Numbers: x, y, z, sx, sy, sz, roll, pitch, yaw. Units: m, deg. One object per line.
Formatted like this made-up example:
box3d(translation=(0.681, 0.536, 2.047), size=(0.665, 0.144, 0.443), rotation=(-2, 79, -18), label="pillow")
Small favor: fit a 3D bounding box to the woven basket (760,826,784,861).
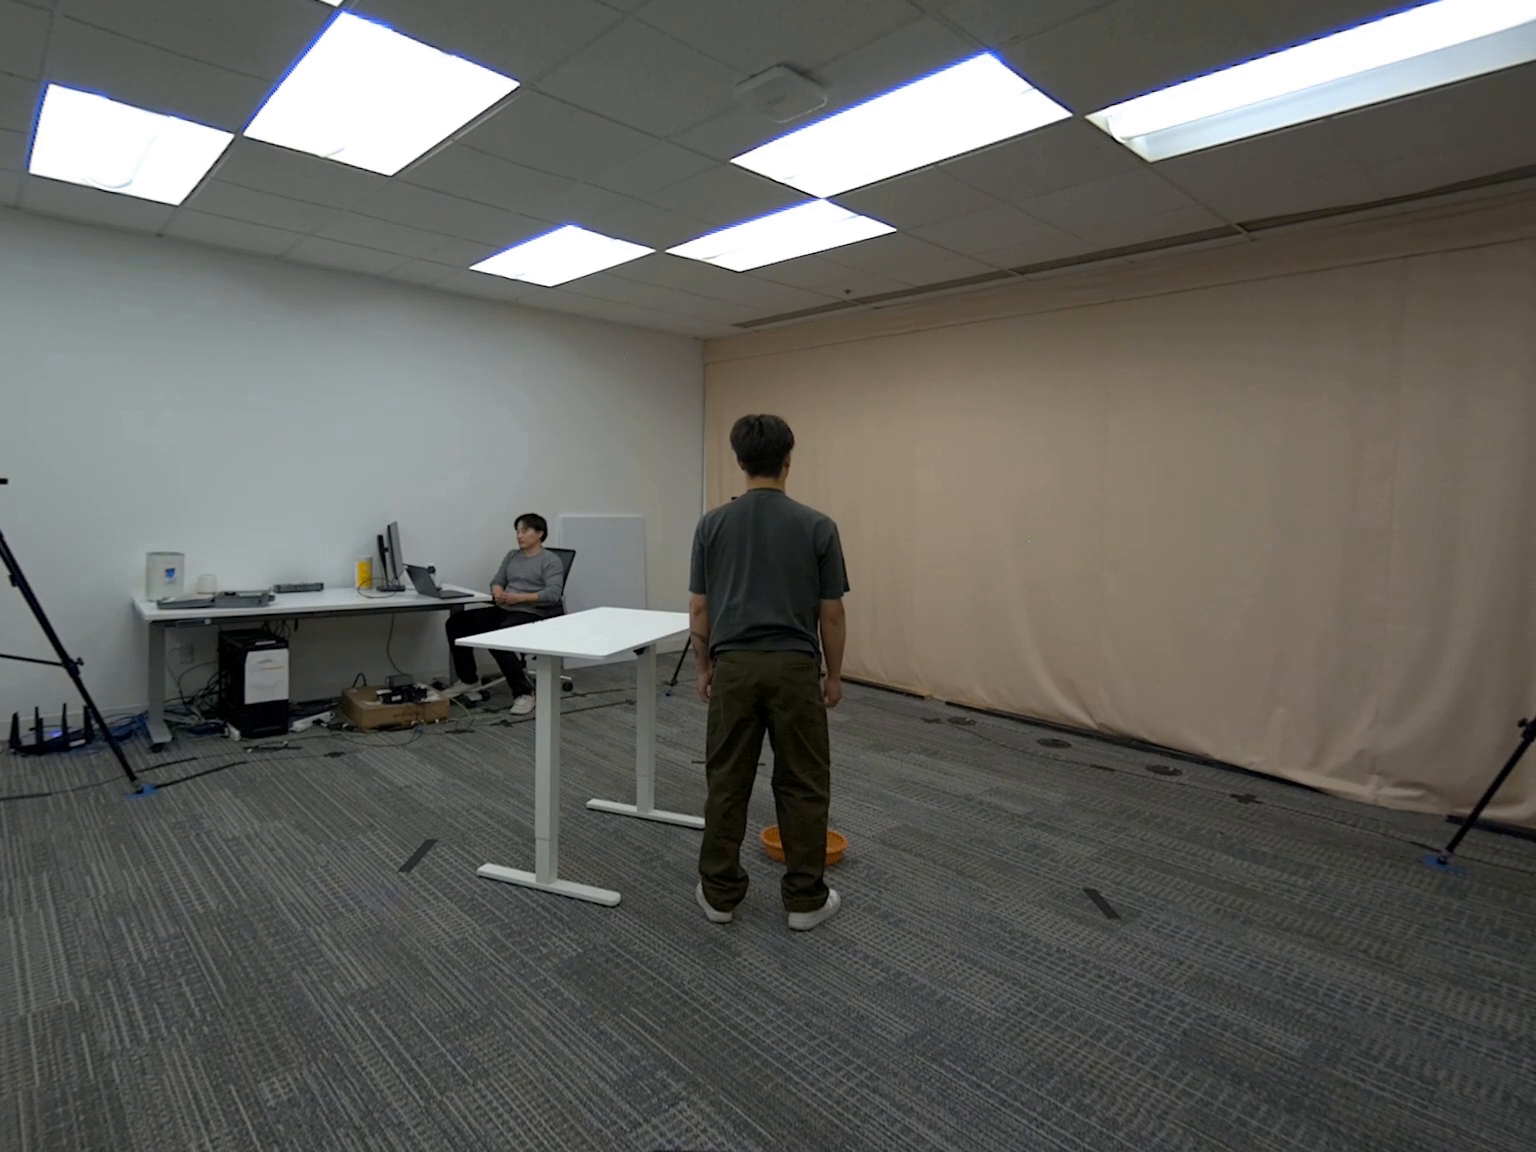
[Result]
box3d(translation=(0.132, 1.061, 3.302), size=(0.356, 0.073, 0.249), rotation=(3, 5, 19), label="woven basket")
